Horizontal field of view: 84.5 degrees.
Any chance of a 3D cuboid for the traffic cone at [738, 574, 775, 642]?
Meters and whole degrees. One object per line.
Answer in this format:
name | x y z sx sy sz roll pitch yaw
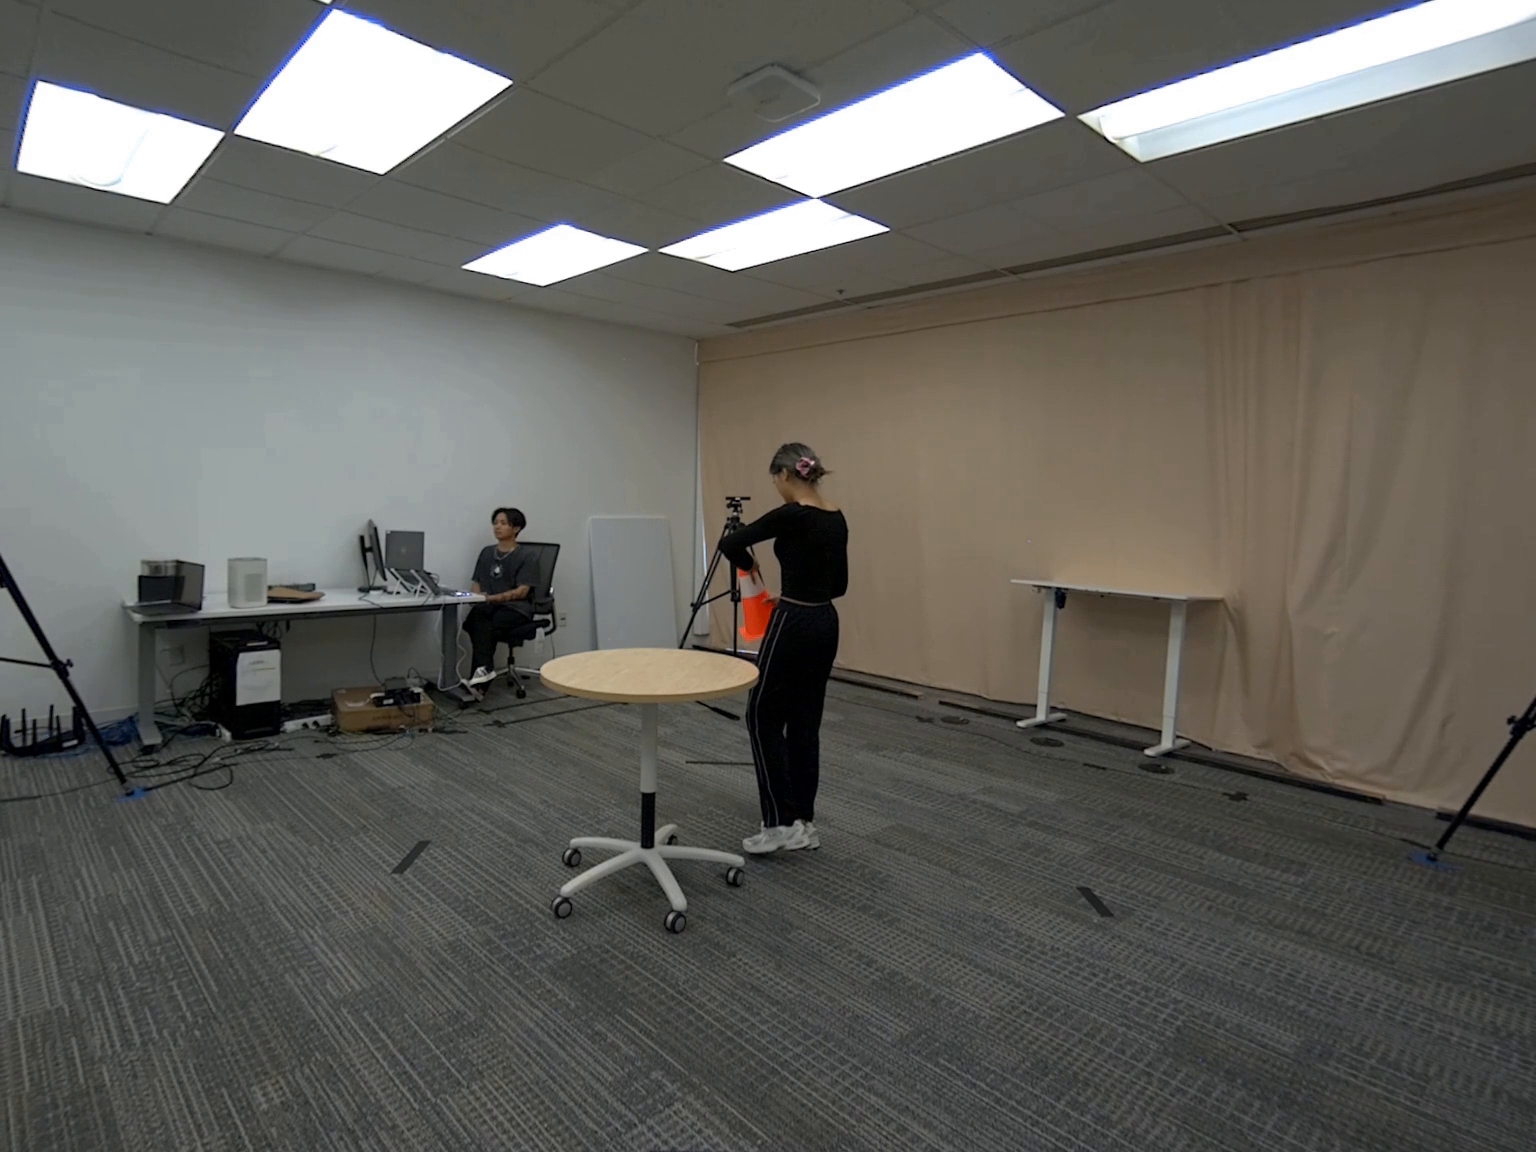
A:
traffic cone | -0.082 0.058 3.635 0.203 0.379 0.208 -17 13 -5
